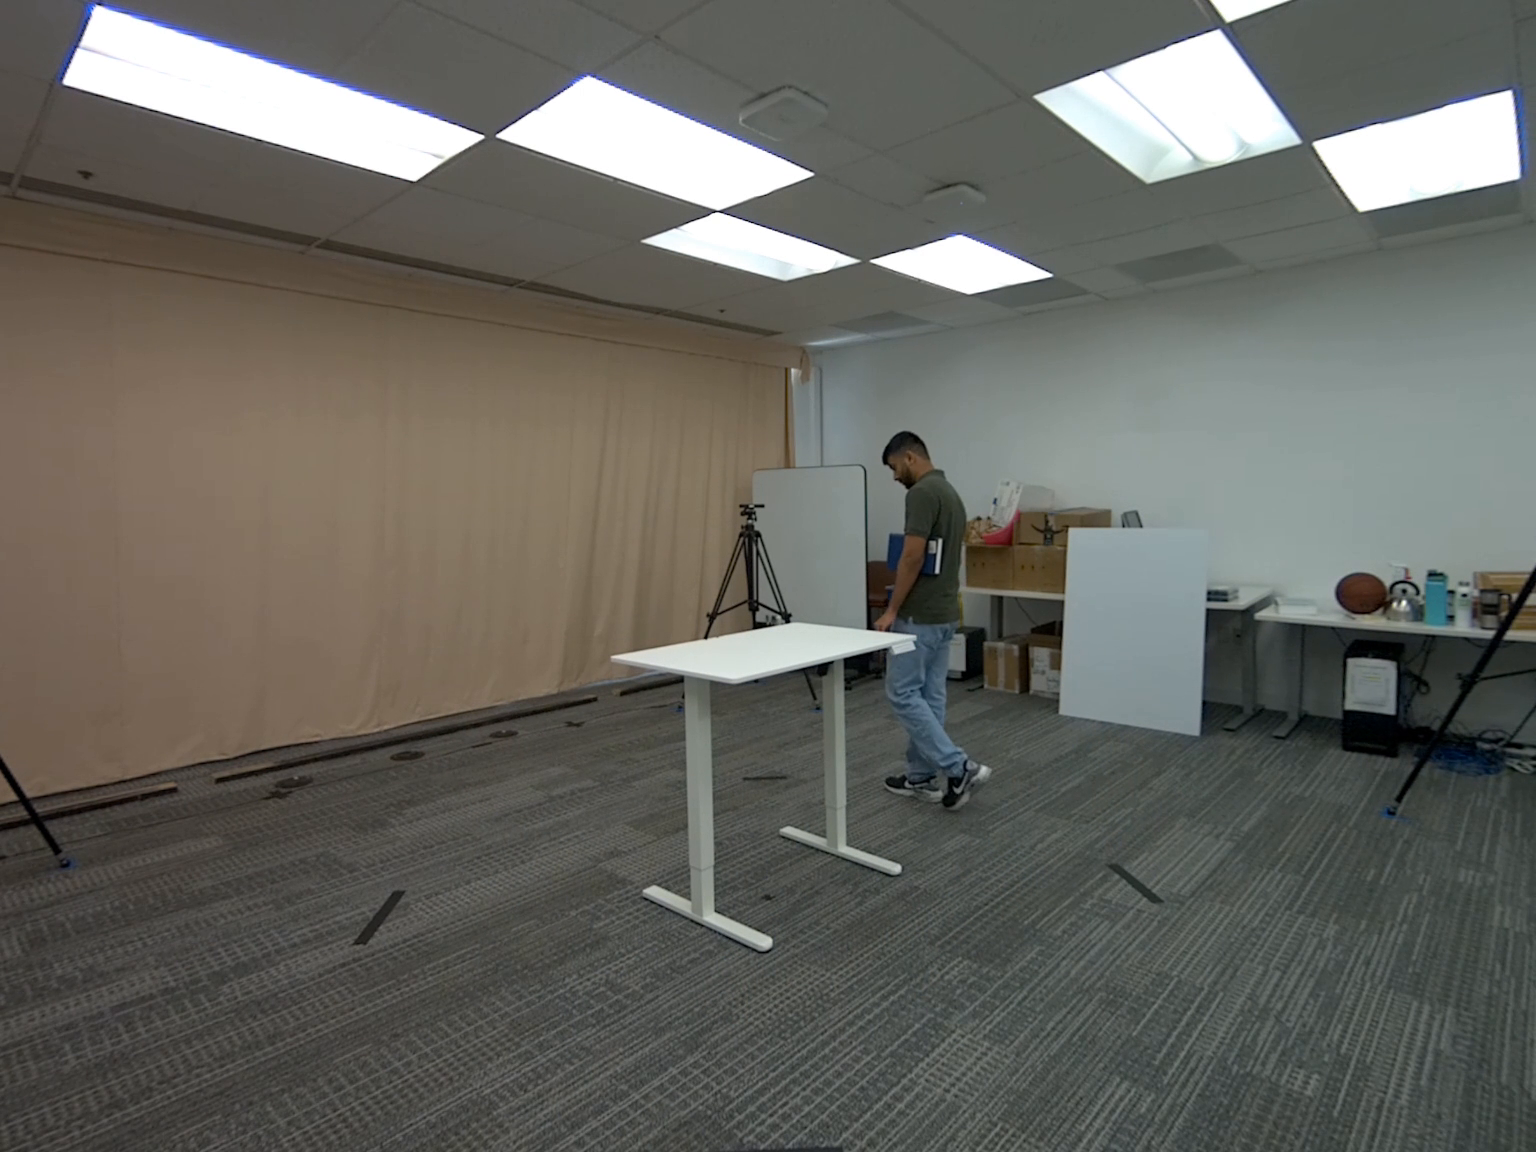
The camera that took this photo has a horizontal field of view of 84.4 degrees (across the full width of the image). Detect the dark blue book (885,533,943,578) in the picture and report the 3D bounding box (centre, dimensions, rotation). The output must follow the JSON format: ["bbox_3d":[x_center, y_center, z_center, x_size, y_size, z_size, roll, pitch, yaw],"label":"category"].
[{"bbox_3d":[0.656,-0.097,3.768,0.253,0.163,0.044,8,2,41],"label":"dark blue book"}]
